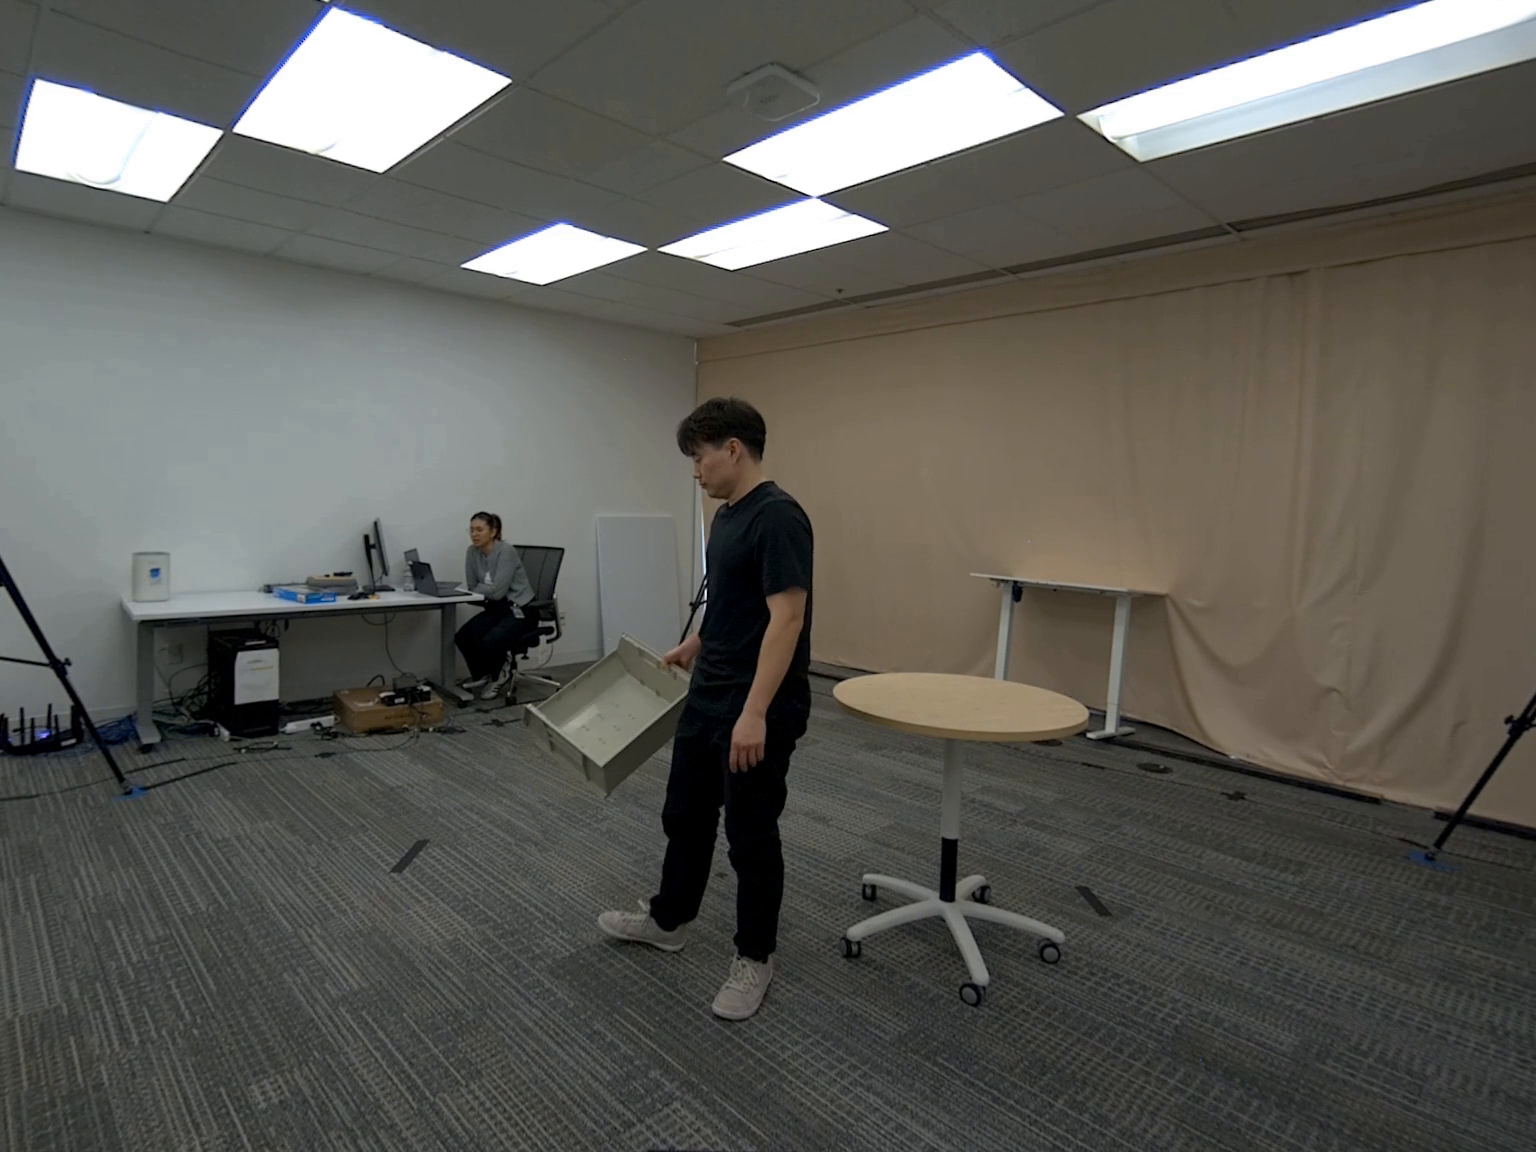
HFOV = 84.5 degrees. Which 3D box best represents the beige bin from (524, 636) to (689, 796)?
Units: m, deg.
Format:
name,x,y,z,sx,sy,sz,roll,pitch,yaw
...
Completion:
name,x,y,z,sx,sy,sz,roll,pitch,yaw
beige bin,-0.497,0.419,2.635,0.387,0.185,0.420,29,46,28
